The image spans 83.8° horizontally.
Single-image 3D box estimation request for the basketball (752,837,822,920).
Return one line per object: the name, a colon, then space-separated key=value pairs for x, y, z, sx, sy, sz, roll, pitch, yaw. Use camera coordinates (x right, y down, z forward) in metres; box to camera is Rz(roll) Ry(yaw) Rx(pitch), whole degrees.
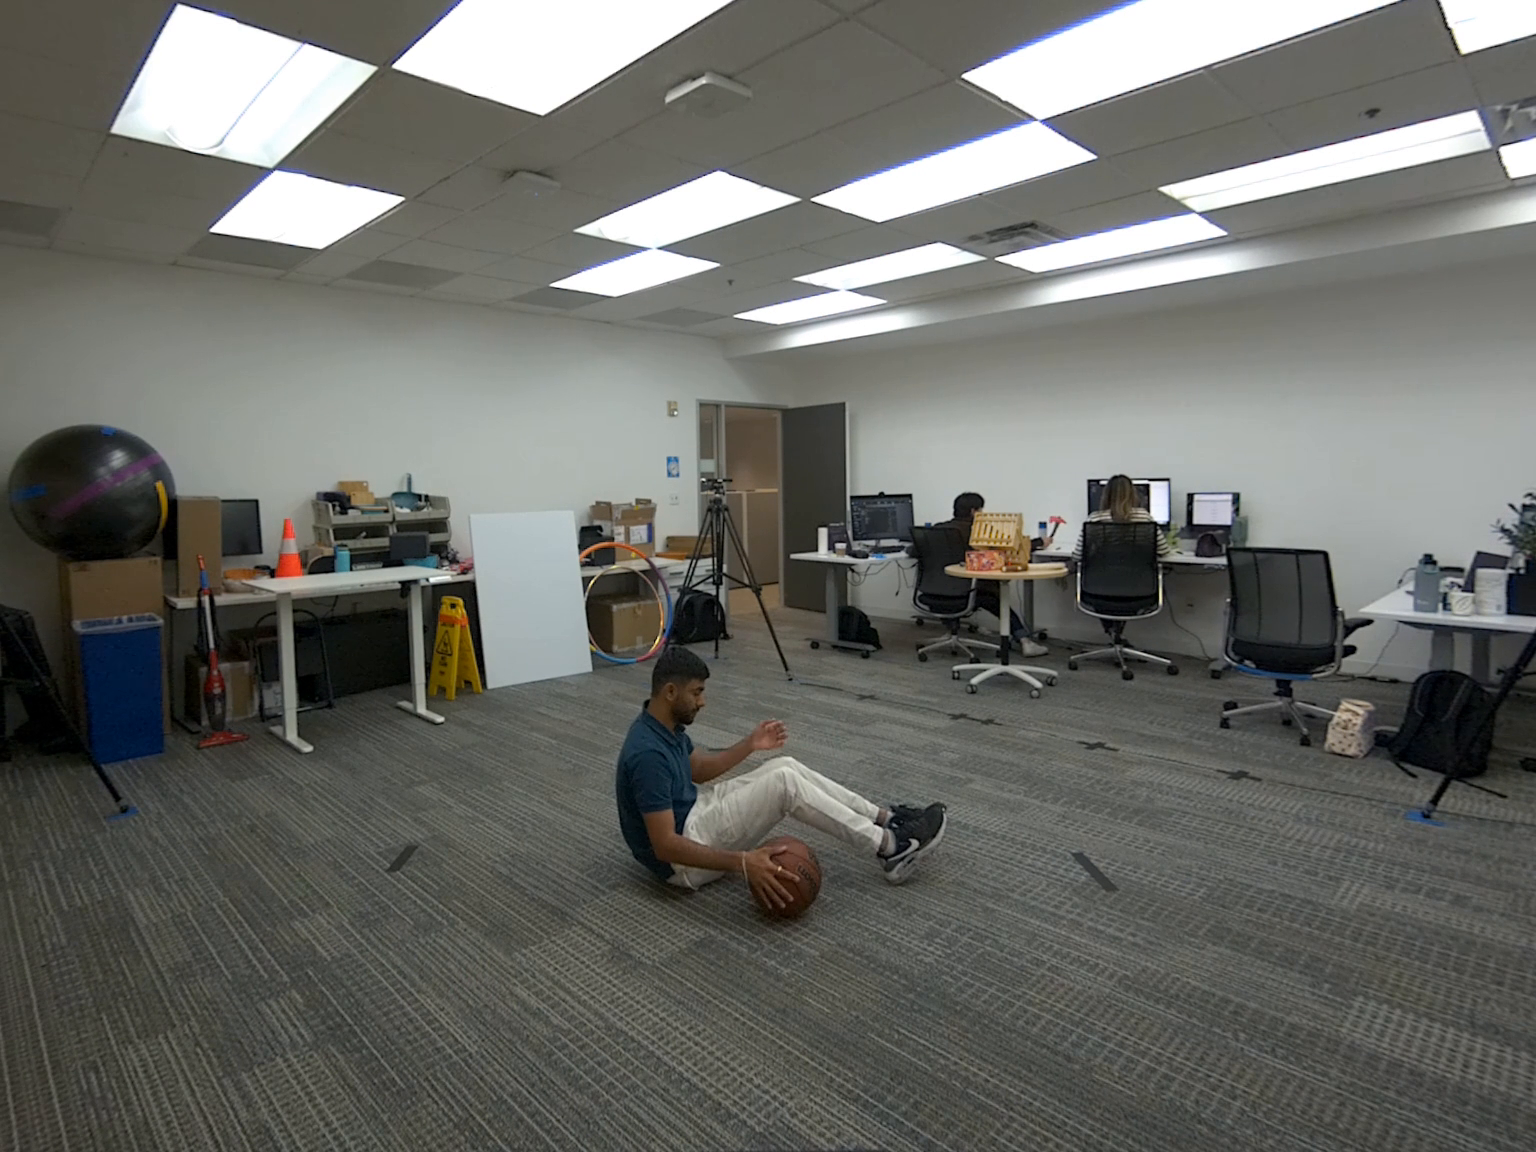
basketball: x=0.048 y=0.959 z=2.760 sx=0.236 sy=0.235 sz=0.237 roll=-1 pitch=5 yaw=-2
